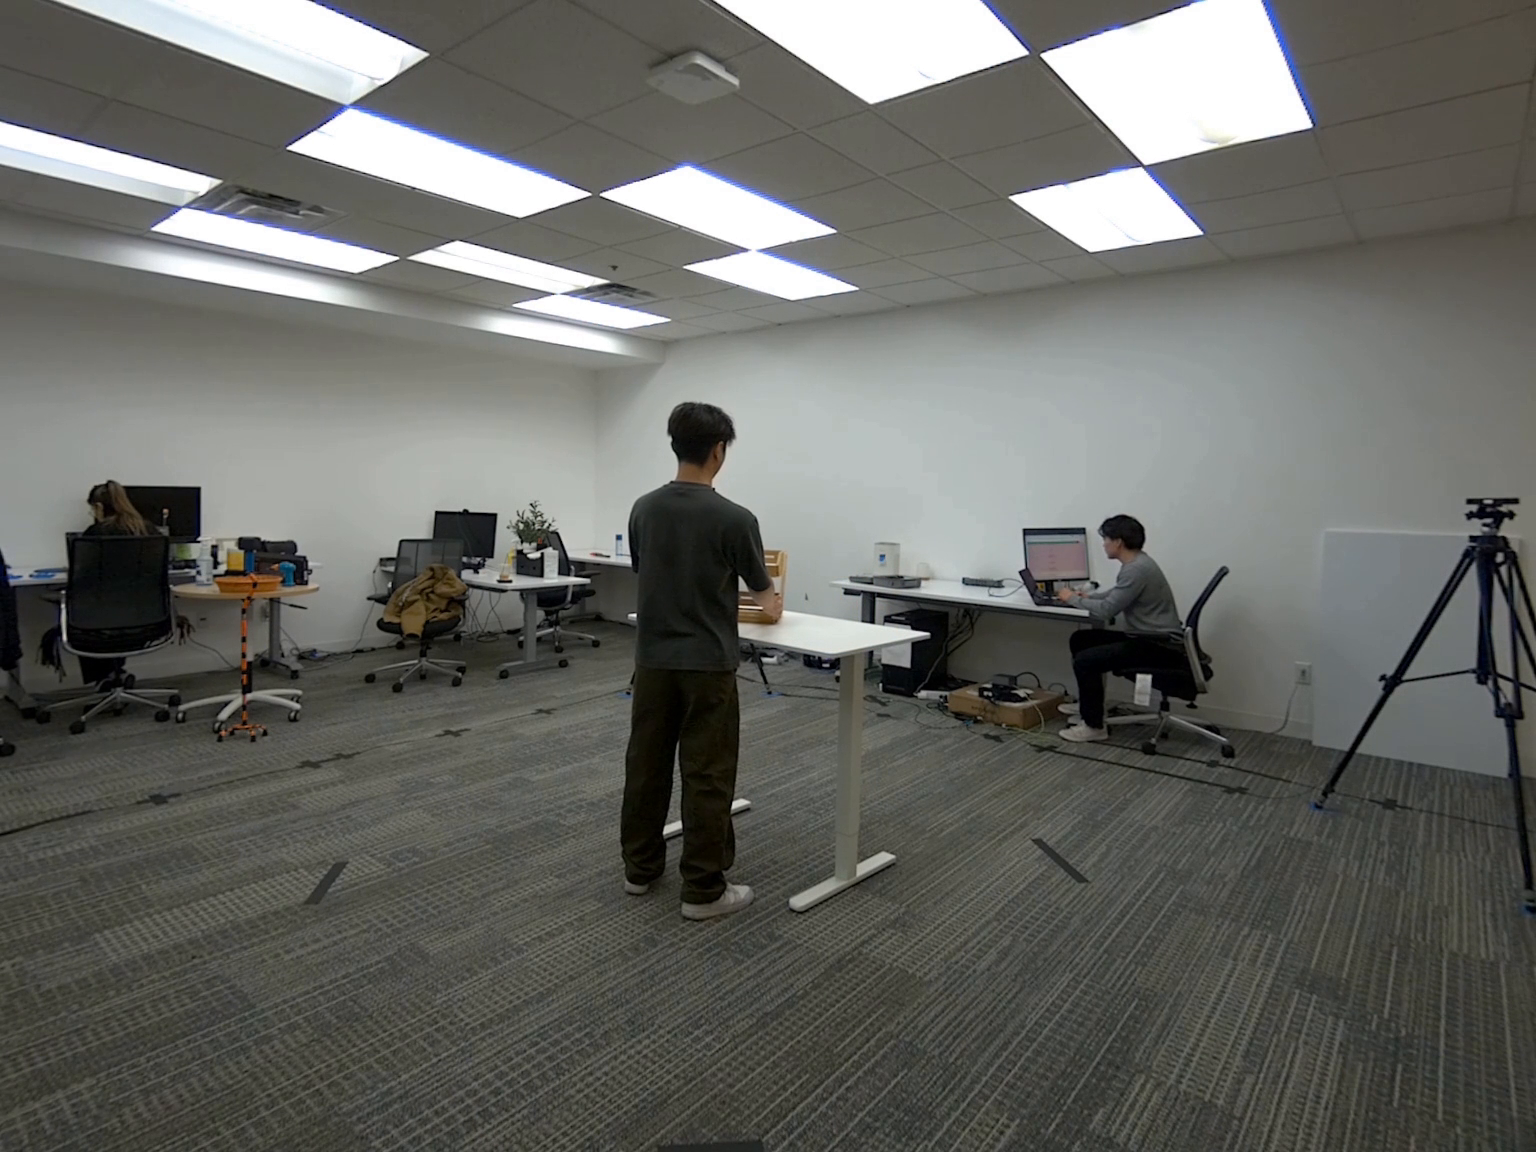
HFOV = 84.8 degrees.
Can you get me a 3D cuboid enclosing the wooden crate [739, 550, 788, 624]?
[{"bbox_3d":[-0.106,0.029,3.359,0.328,0.272,0.299,2,5,10],"label":"wooden crate"}]
